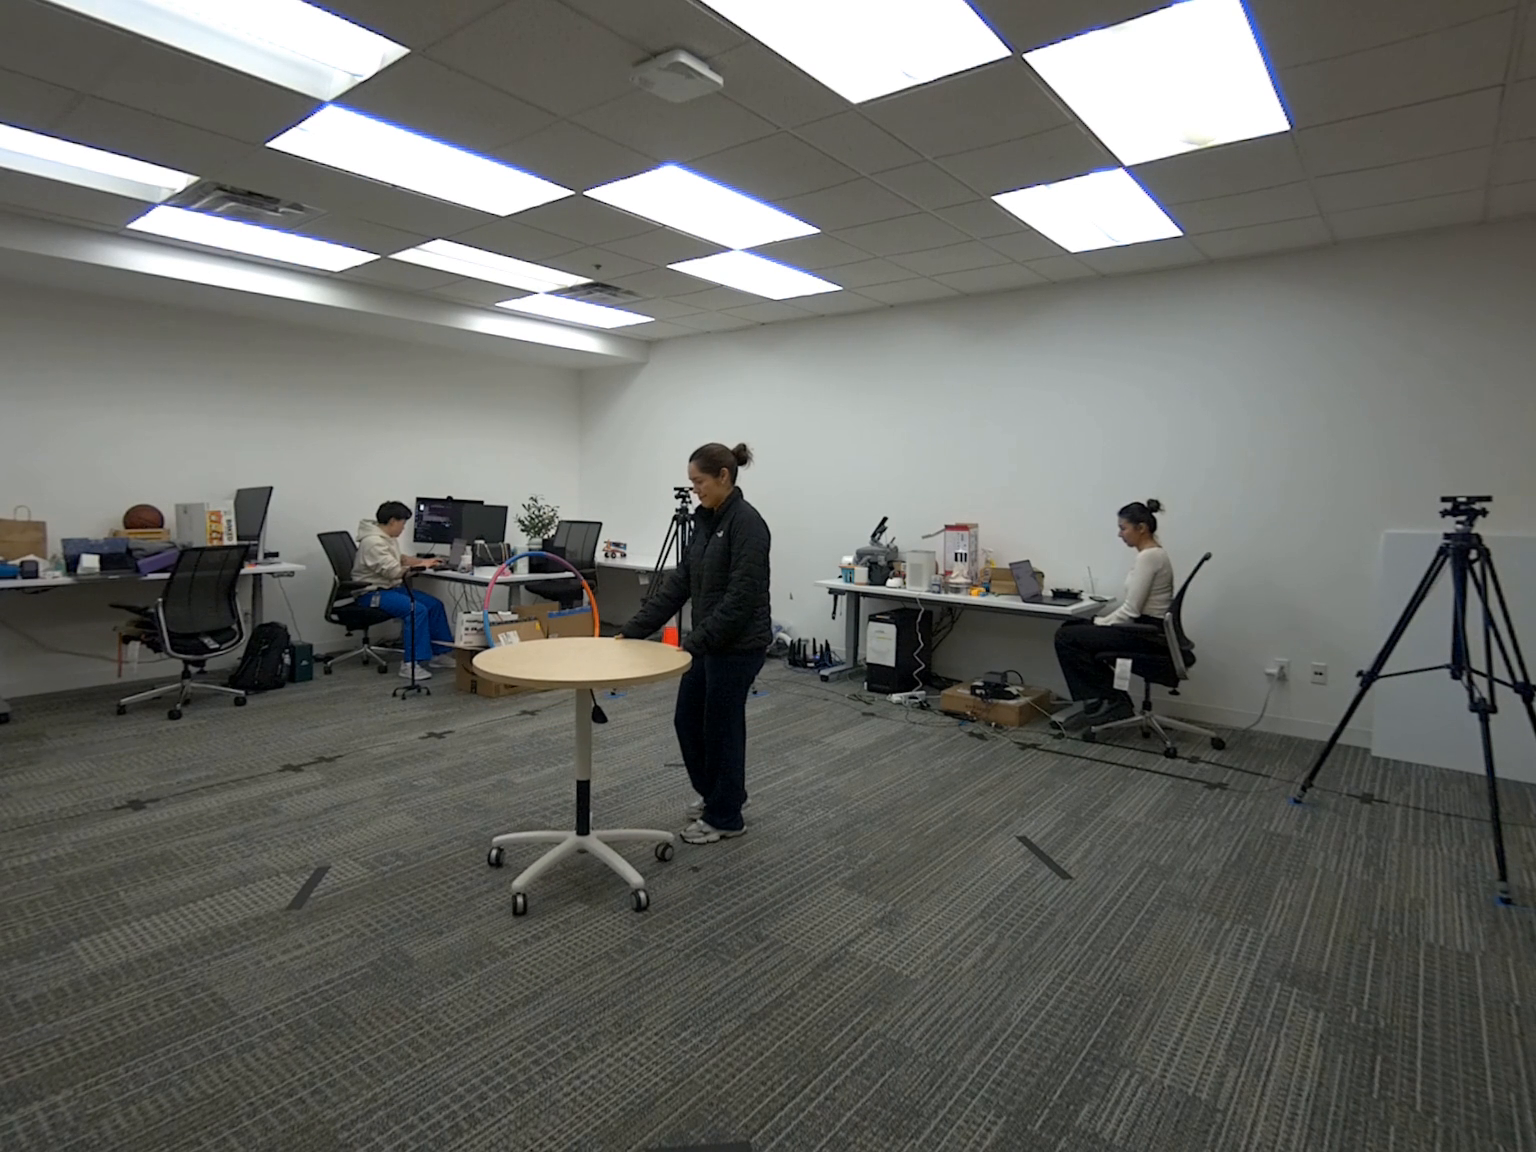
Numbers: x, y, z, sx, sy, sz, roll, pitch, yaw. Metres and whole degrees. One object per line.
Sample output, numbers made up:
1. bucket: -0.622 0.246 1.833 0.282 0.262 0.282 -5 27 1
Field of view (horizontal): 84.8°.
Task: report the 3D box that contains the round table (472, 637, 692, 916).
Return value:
1. round table: -0.635 0.671 3.058 0.784 0.784 0.789 0 4 -2
